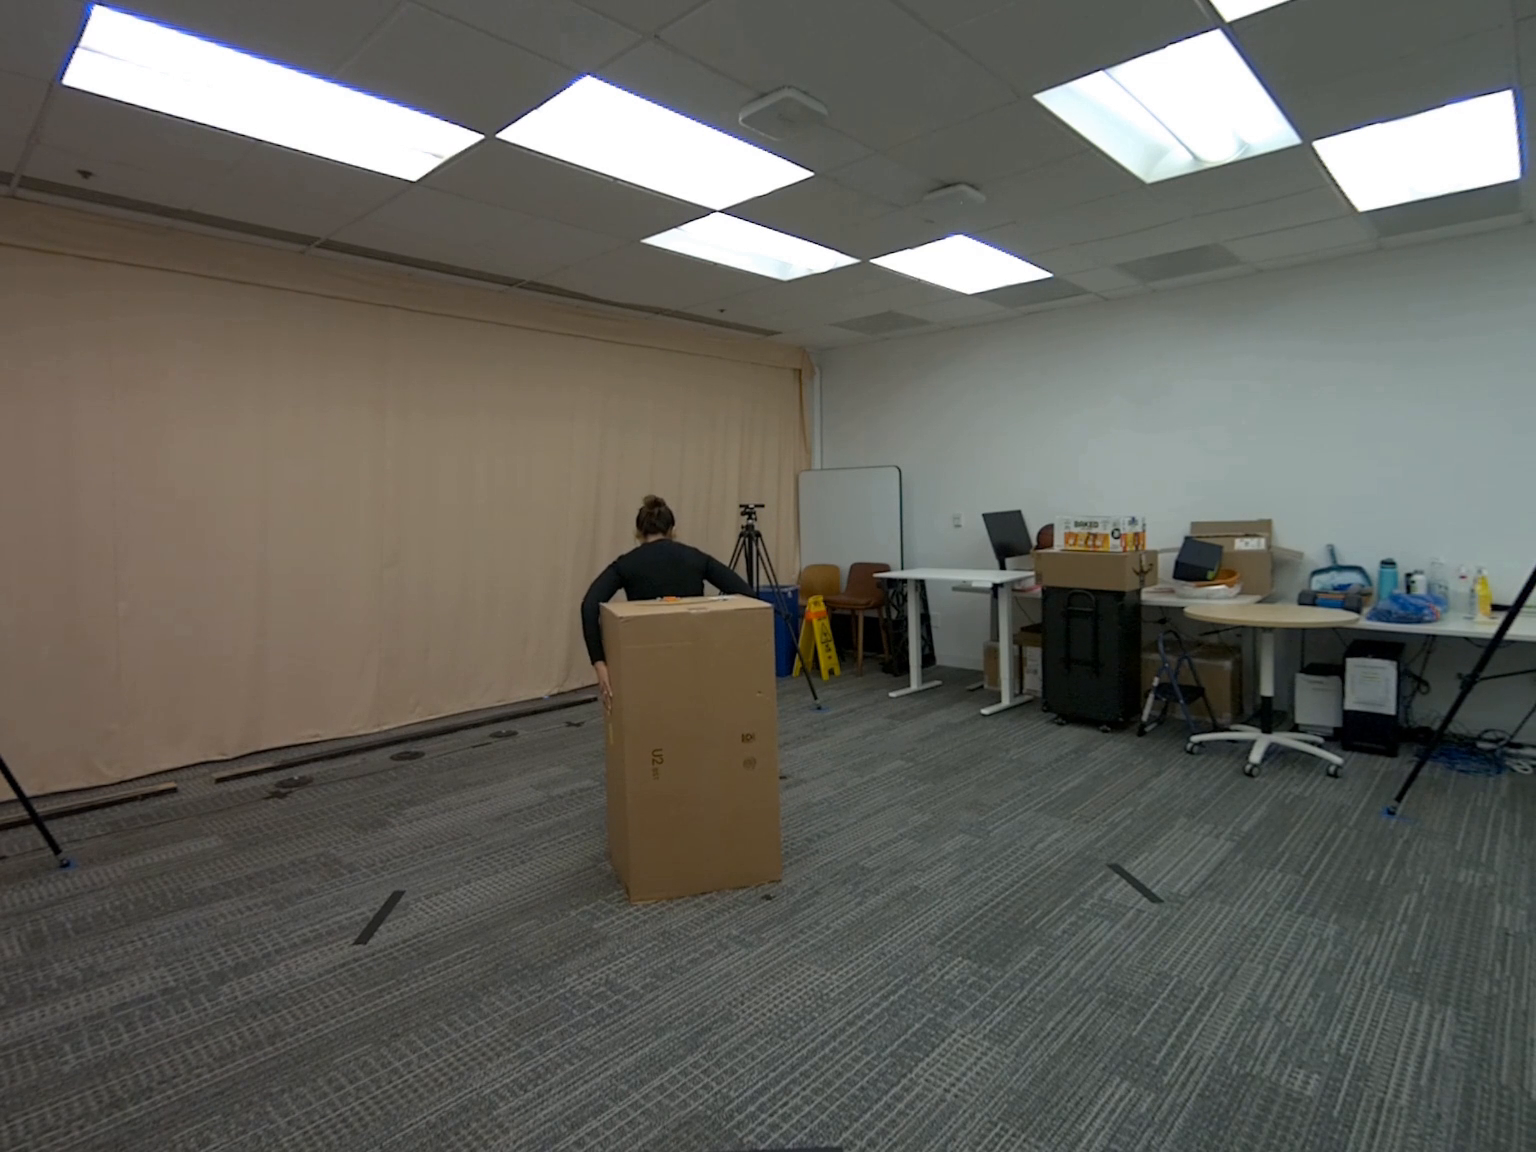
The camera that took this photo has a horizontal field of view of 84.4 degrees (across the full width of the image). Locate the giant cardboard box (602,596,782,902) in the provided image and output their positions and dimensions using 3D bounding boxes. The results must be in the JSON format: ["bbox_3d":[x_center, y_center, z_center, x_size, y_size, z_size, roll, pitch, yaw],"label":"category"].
[{"bbox_3d":[-0.294,0.614,3.190,0.567,1.023,0.435,-3,4,-19],"label":"giant cardboard box"}]
